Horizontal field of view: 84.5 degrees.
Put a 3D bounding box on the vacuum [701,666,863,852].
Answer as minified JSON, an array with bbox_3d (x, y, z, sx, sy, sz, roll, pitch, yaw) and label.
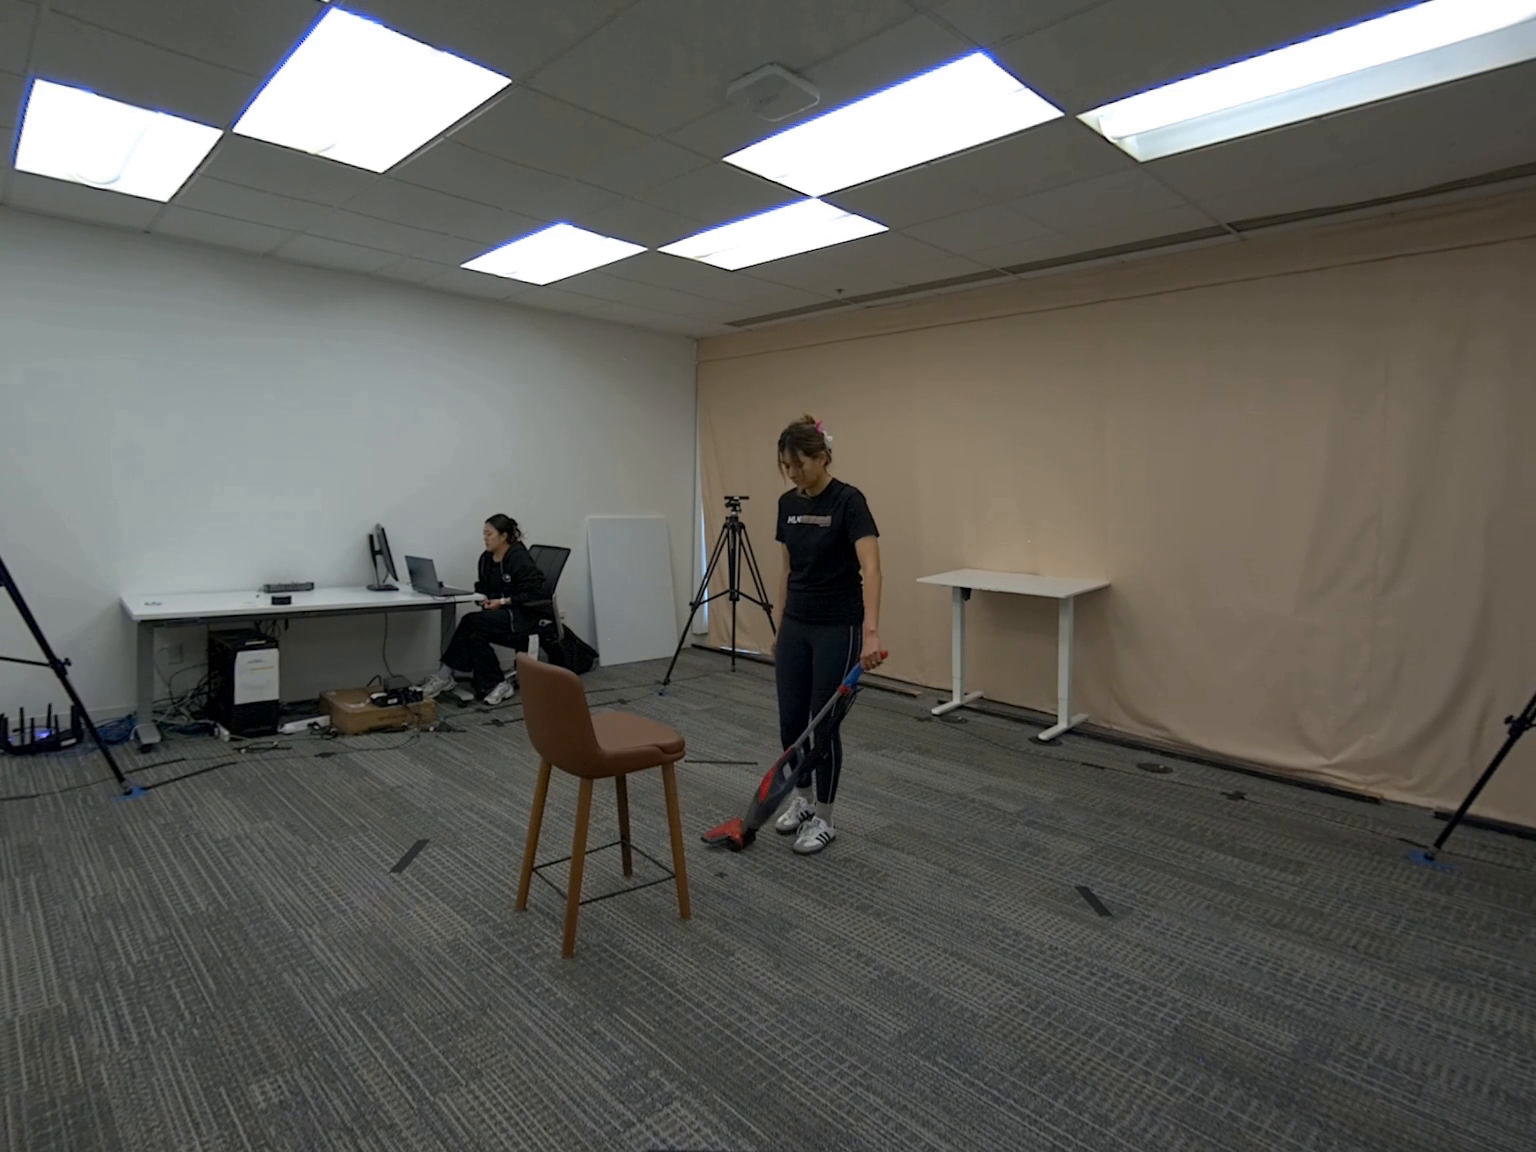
[{"bbox_3d":[0.123,0.674,3.179,0.148,1.046,0.247,49,26,25],"label":"vacuum"}]
